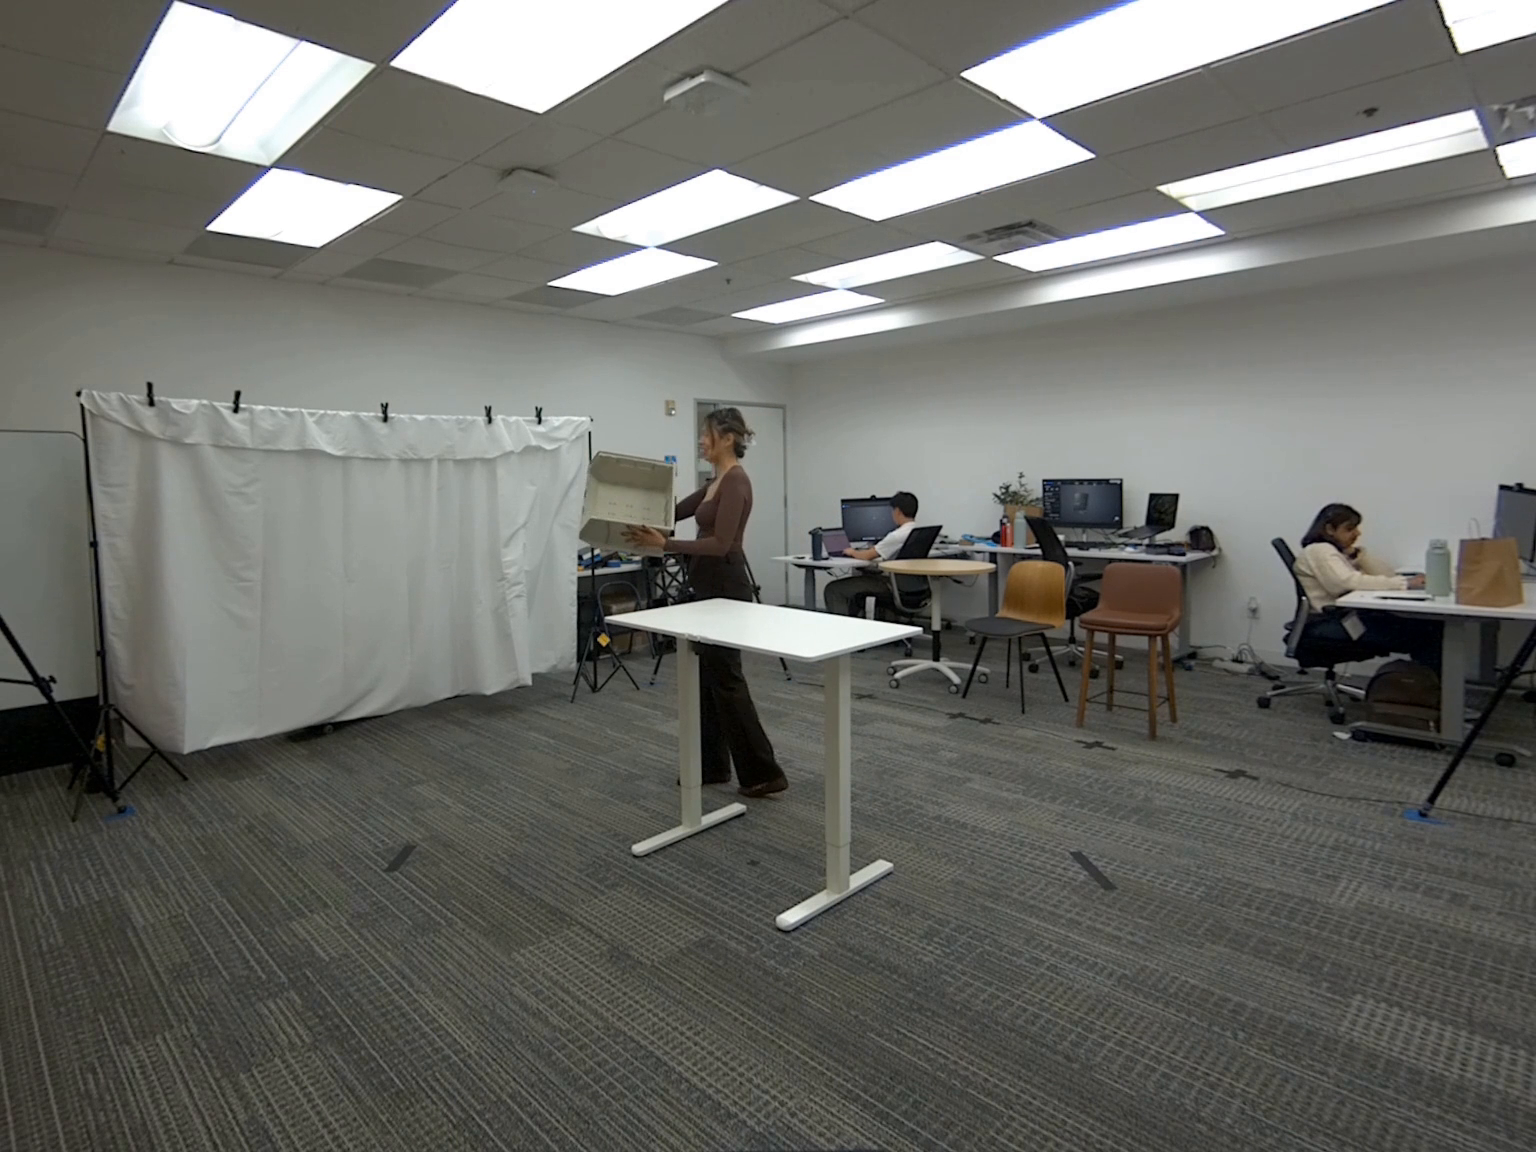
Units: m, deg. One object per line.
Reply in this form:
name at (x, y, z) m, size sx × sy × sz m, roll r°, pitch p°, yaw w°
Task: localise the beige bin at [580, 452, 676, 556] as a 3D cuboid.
beige bin at (-0.601, -0.311, 3.680) m, size 0.373 × 0.186 × 0.434 m, roll 7°, pitch 45°, yaw -12°
